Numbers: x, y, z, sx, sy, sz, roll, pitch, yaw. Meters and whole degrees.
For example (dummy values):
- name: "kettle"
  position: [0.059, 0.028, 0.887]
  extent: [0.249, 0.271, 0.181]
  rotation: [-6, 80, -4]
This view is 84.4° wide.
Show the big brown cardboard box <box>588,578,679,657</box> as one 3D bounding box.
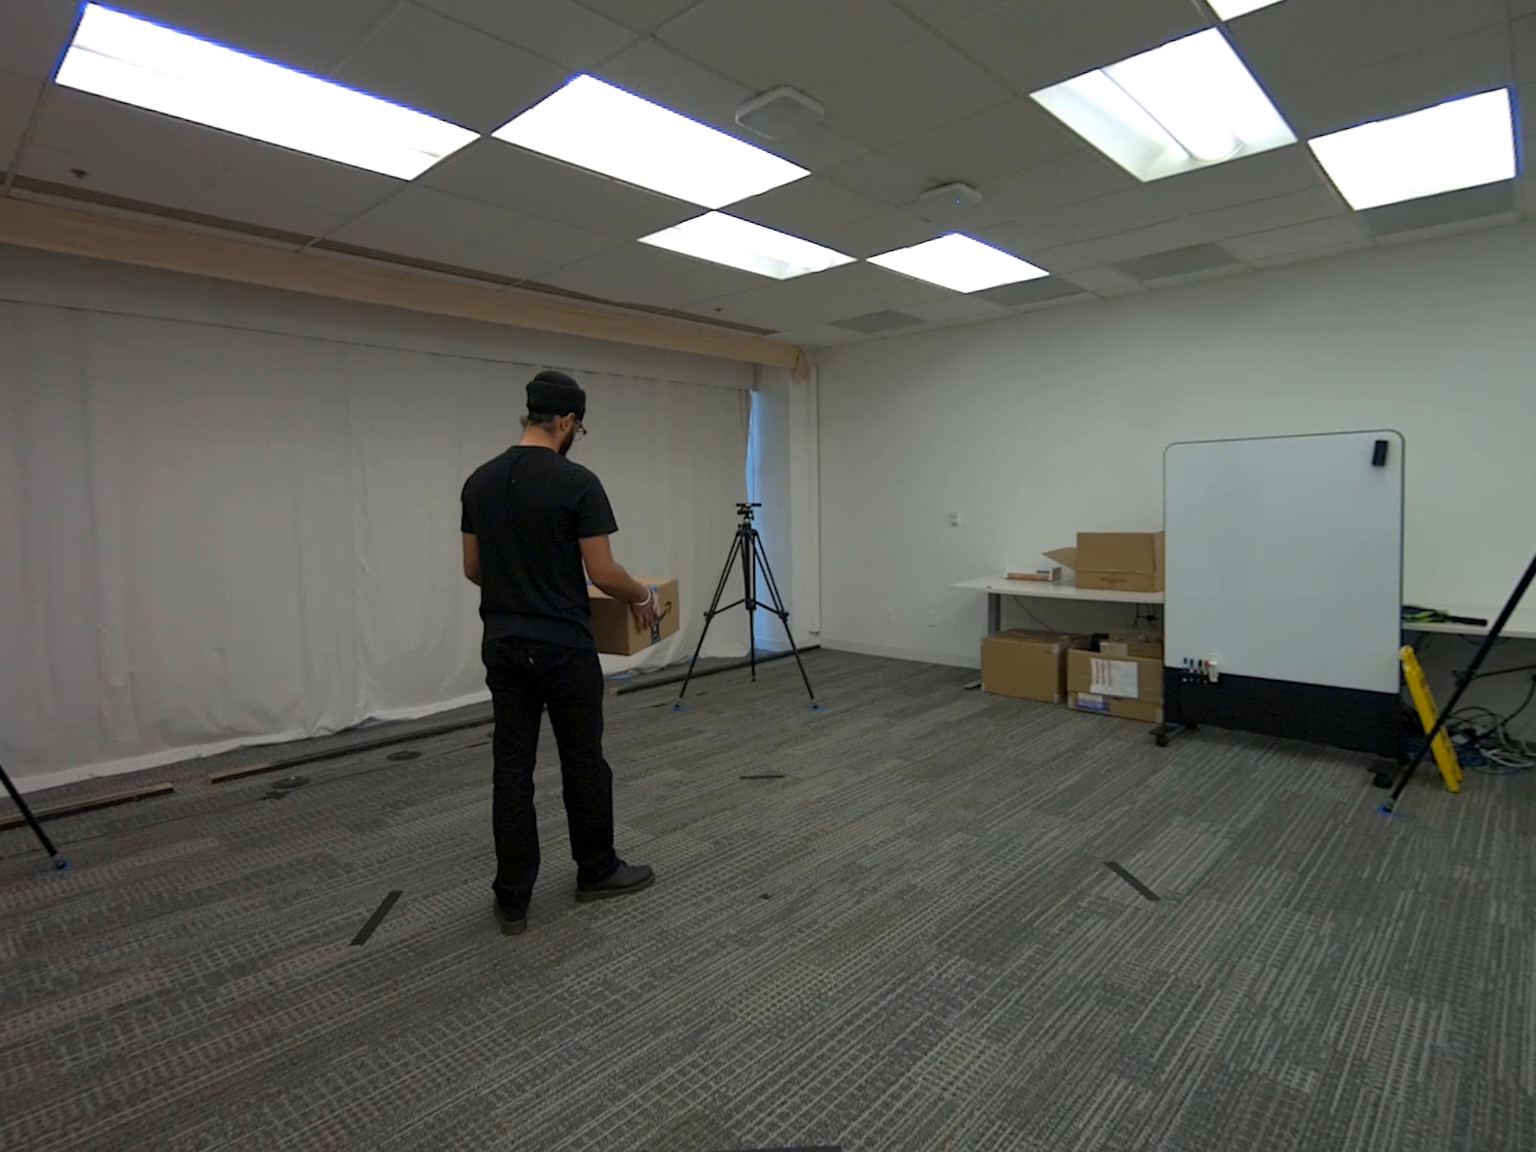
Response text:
- name: "big brown cardboard box"
  position: [-0.696, 0.132, 3.305]
  extent: [0.602, 0.232, 0.411]
  rotation: [3, 11, 20]
